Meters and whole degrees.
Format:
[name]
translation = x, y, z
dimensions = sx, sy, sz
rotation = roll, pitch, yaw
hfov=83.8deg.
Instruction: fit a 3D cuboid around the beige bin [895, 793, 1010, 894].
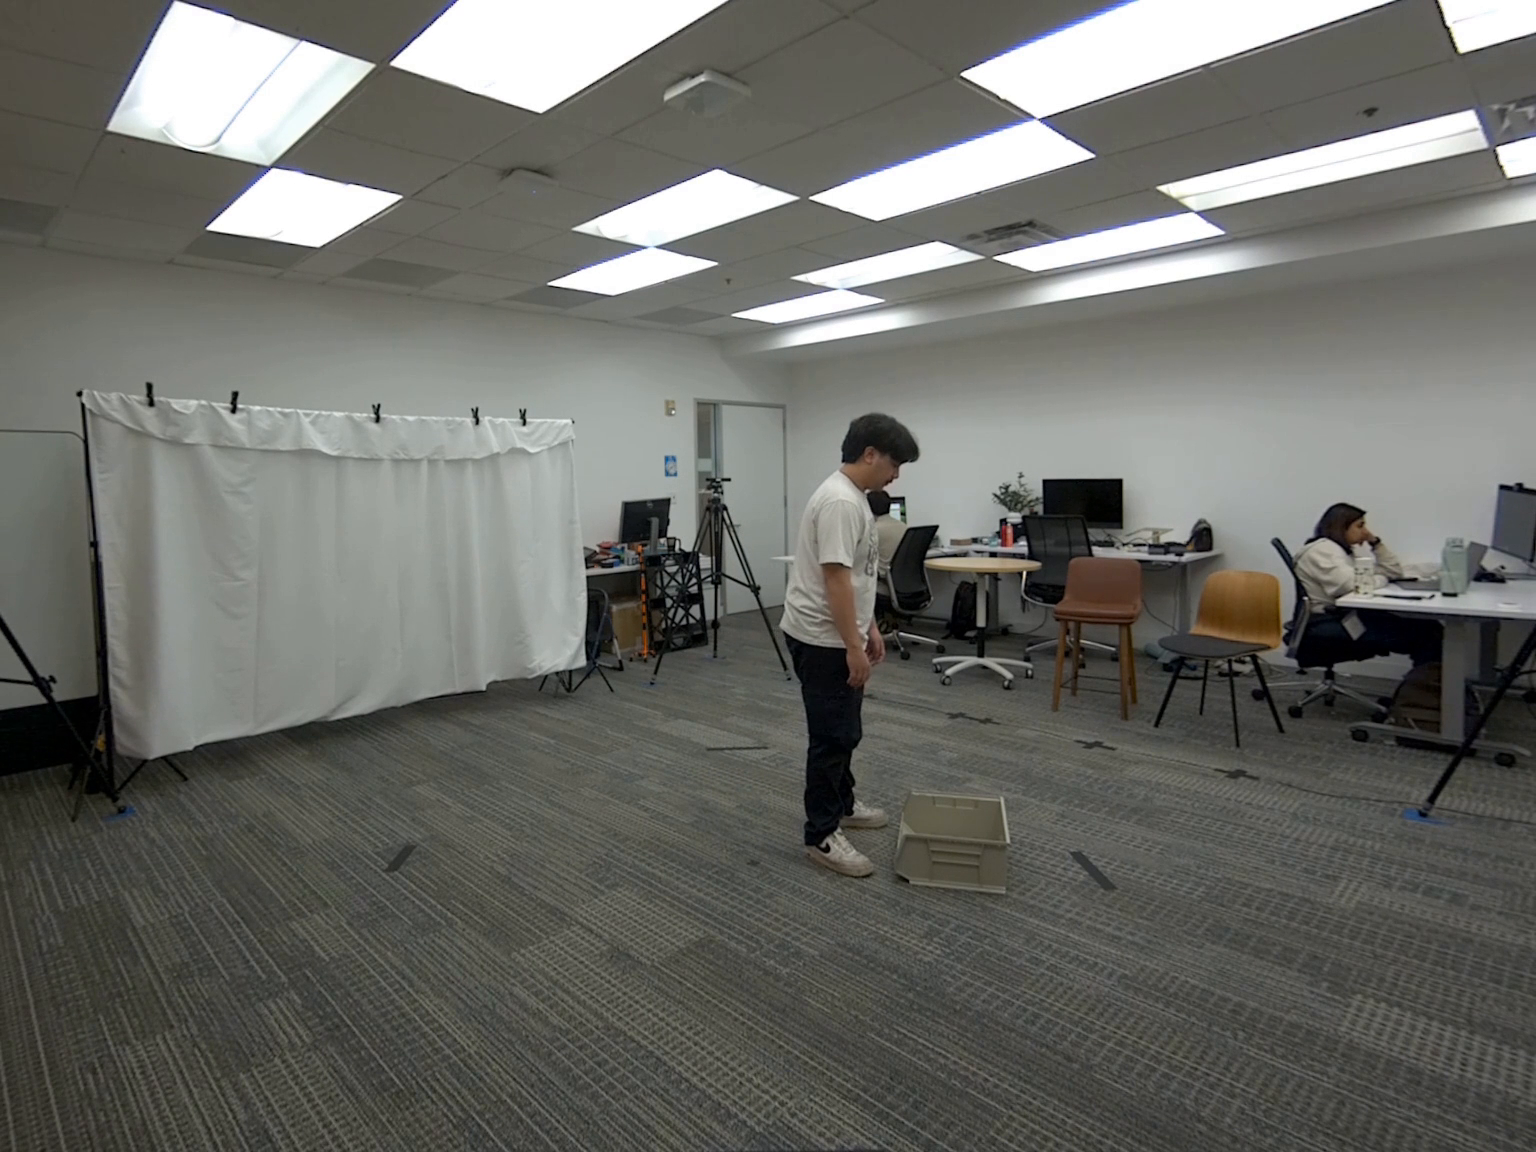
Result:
[beige bin]
translation = 0.669, 0.948, 3.074
dimensions = 0.382, 0.188, 0.418
rotation = 1, 6, 12
